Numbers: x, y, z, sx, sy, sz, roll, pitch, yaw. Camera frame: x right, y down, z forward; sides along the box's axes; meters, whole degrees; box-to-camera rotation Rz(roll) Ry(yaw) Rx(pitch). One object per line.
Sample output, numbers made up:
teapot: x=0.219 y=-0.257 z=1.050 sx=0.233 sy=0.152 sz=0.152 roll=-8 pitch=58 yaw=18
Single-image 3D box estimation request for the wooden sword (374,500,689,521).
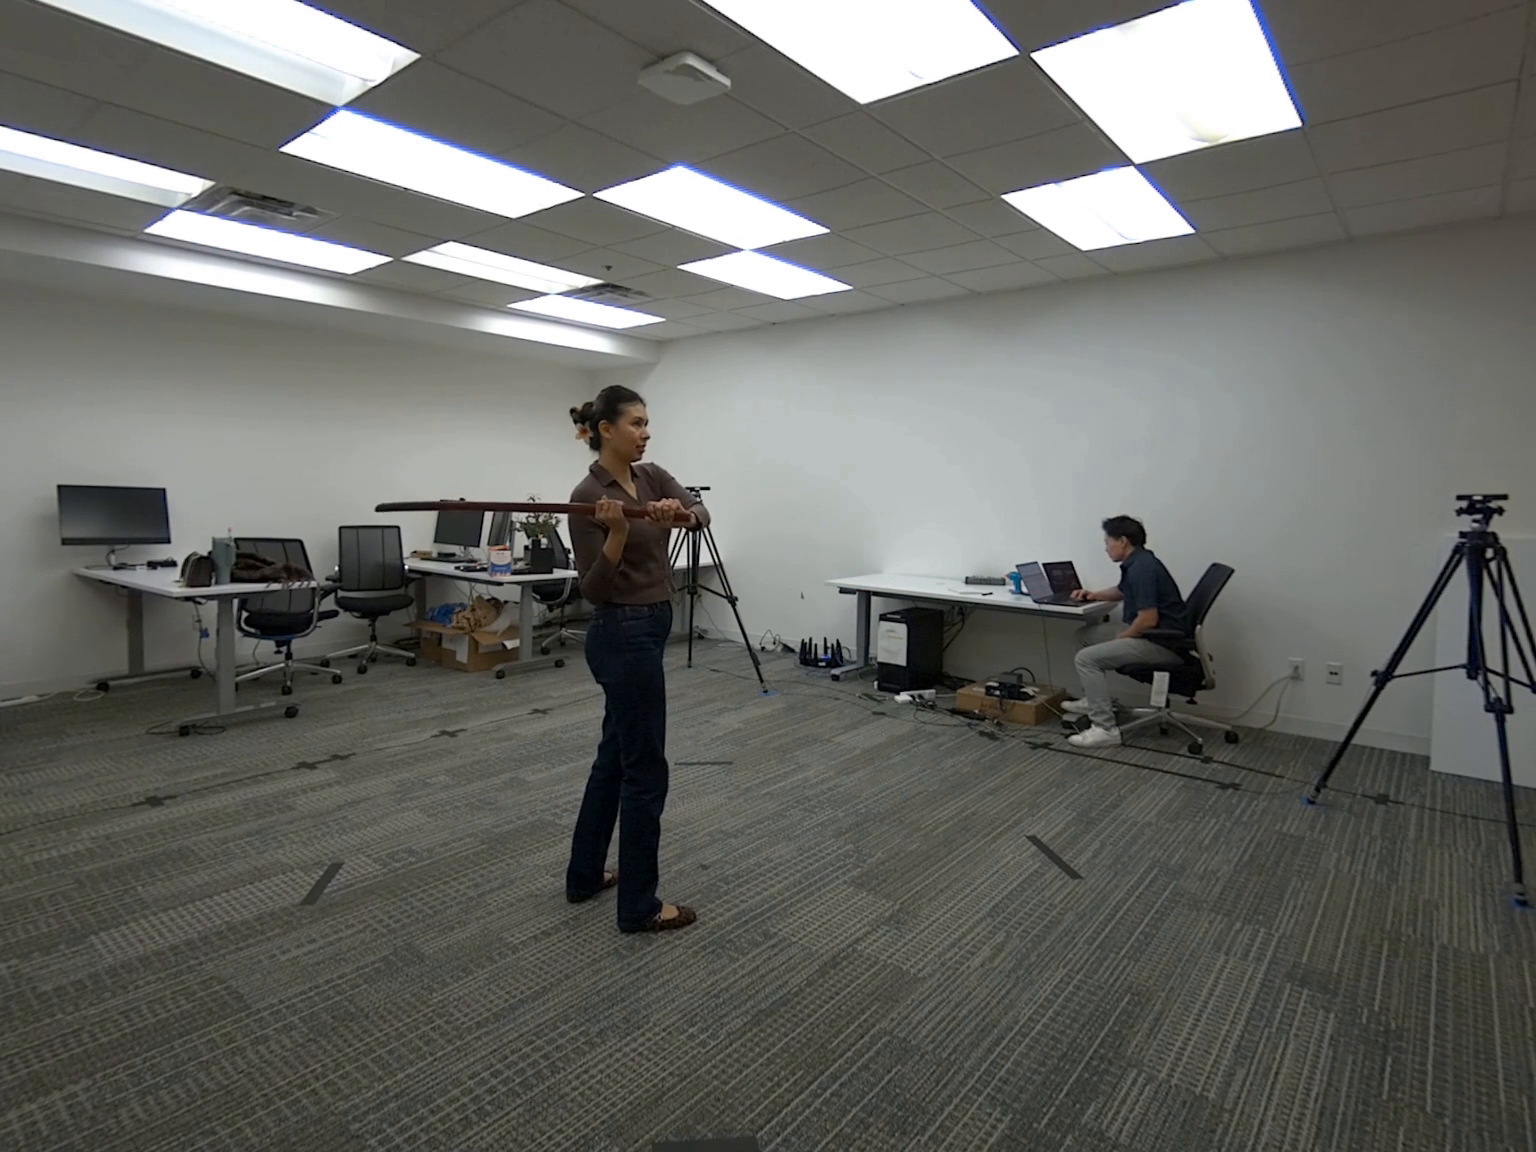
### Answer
wooden sword: x=-0.677 y=-0.196 z=2.477 sx=1.037 sy=0.052 sz=0.023 roll=0 pitch=-38 yaw=11
